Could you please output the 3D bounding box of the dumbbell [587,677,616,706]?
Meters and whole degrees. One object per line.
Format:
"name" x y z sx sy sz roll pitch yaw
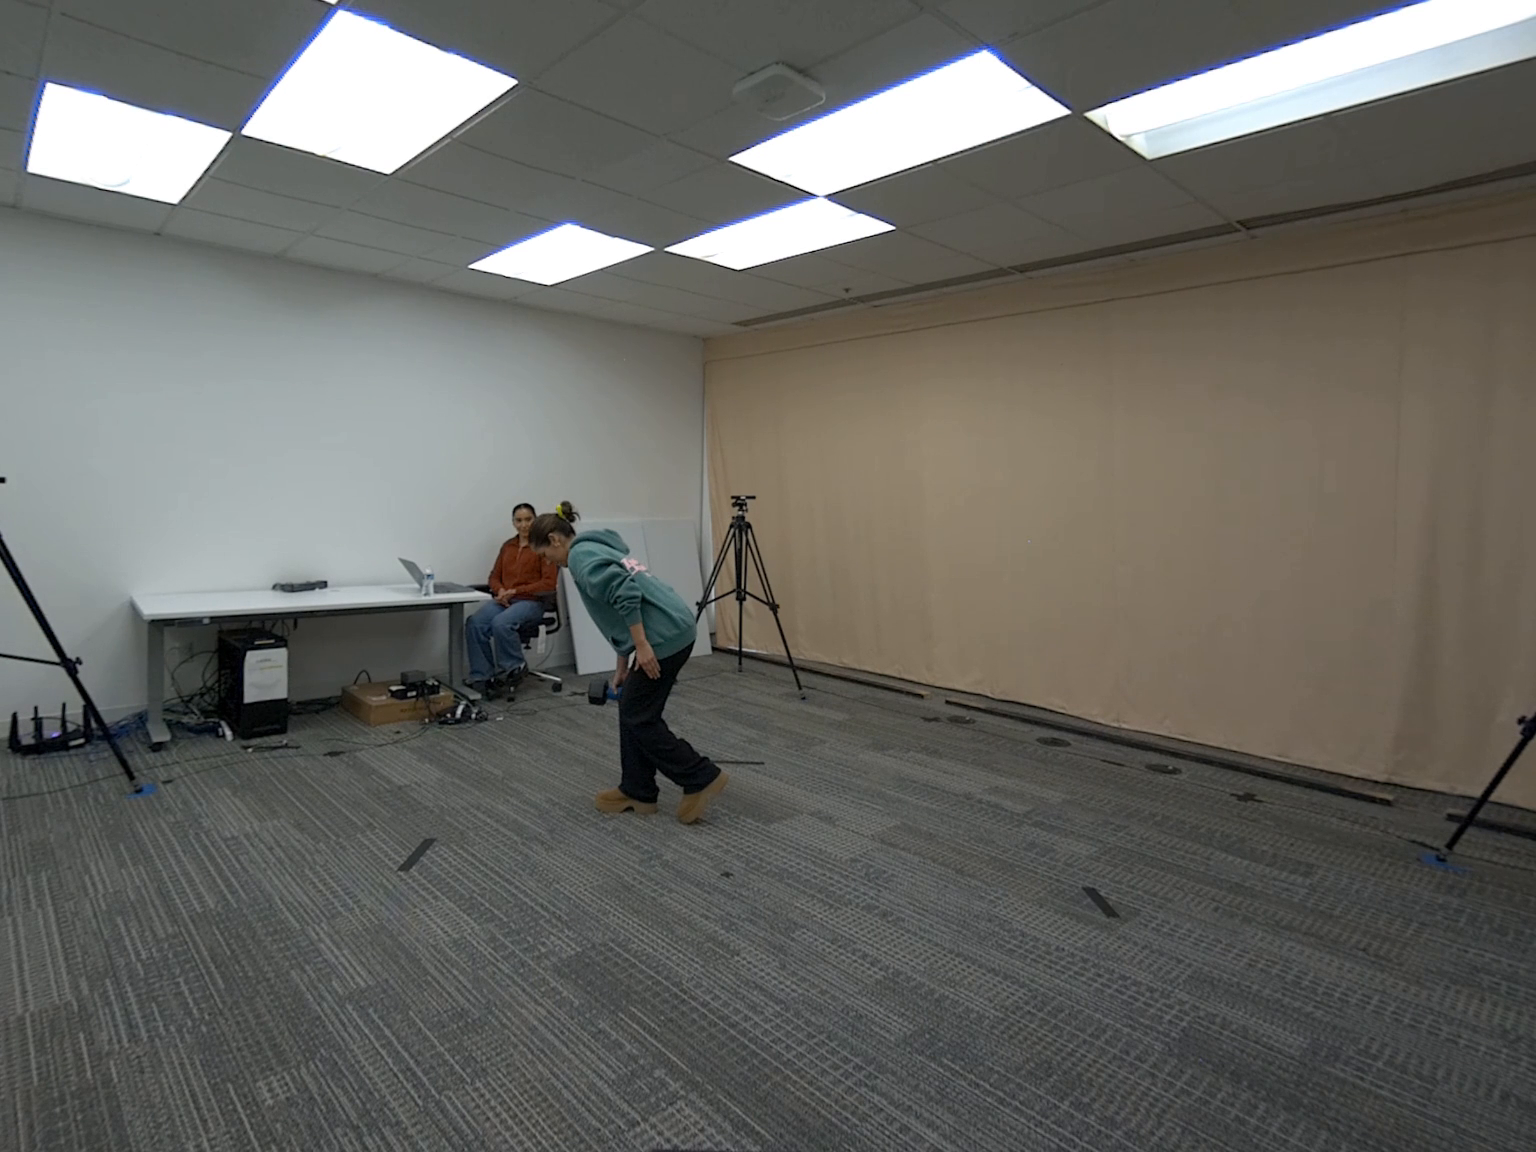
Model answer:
"dumbbell" -0.684 0.544 3.871 0.294 0.124 0.107 6 -16 4
